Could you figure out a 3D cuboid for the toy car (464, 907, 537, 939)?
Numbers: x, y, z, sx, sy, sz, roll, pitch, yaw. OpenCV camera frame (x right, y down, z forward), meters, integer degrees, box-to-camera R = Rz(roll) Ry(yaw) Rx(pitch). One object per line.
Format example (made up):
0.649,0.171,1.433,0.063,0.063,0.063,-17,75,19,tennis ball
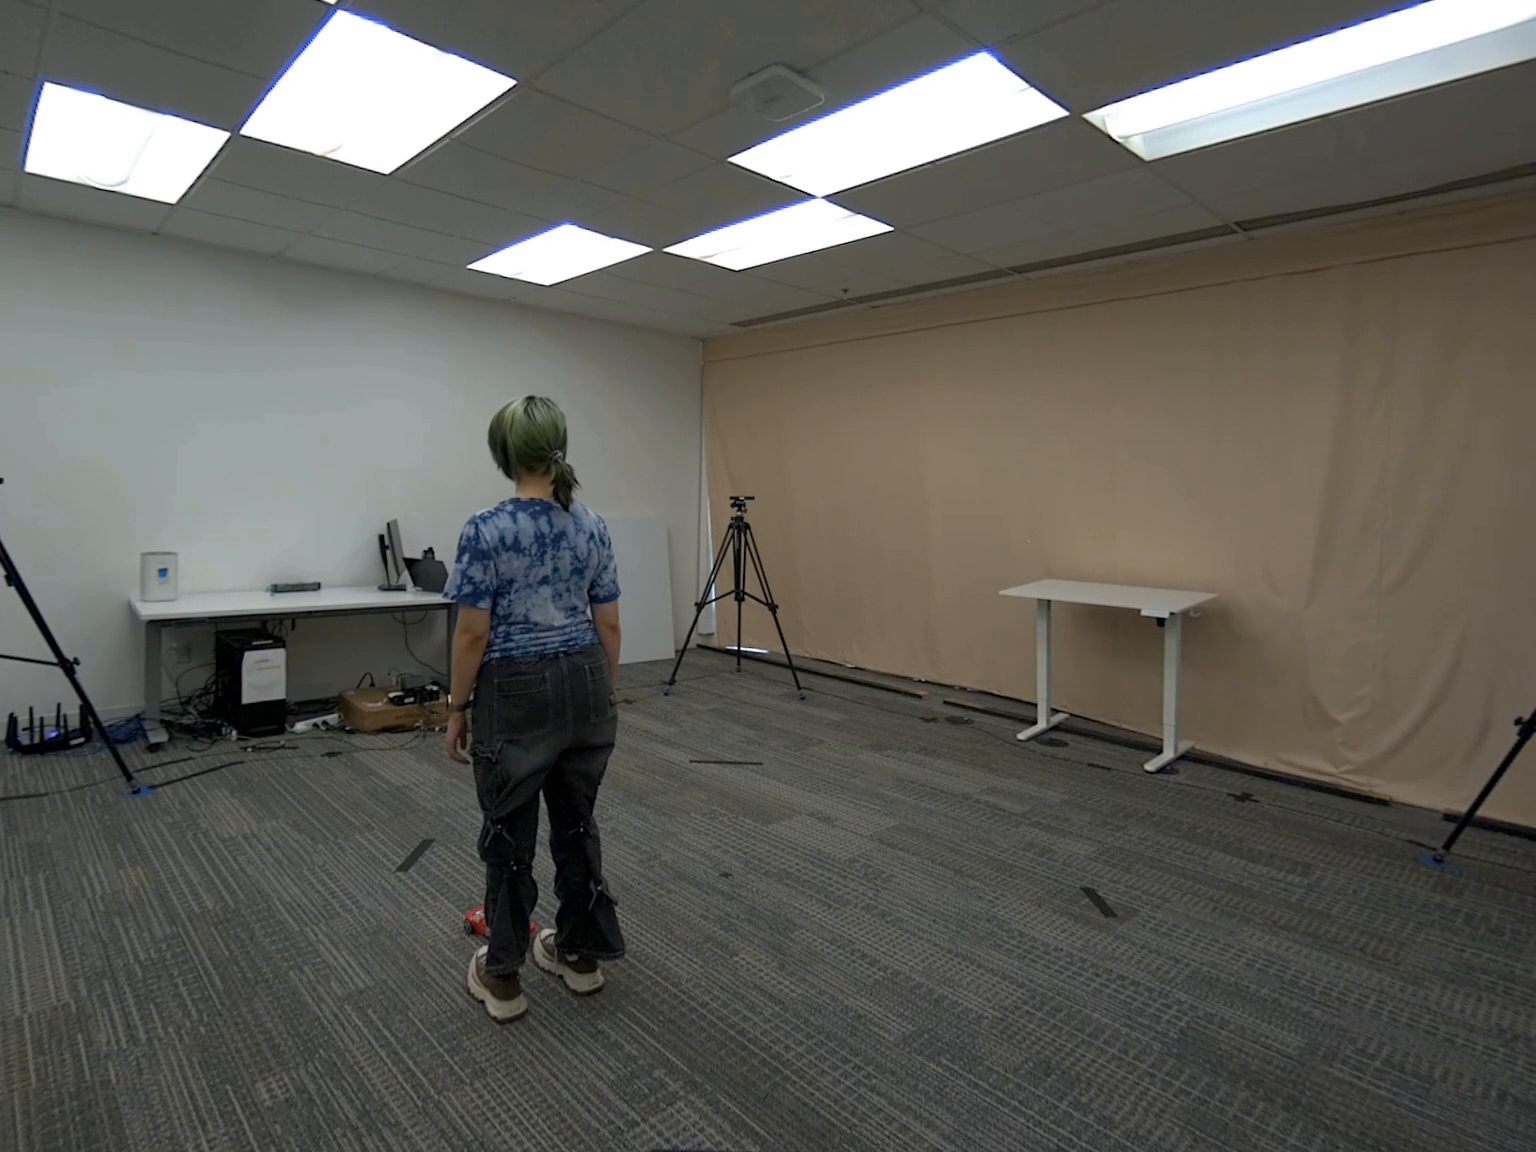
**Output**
-0.844,1.105,2.638,0.259,0.083,0.127,-8,-2,35,toy car
